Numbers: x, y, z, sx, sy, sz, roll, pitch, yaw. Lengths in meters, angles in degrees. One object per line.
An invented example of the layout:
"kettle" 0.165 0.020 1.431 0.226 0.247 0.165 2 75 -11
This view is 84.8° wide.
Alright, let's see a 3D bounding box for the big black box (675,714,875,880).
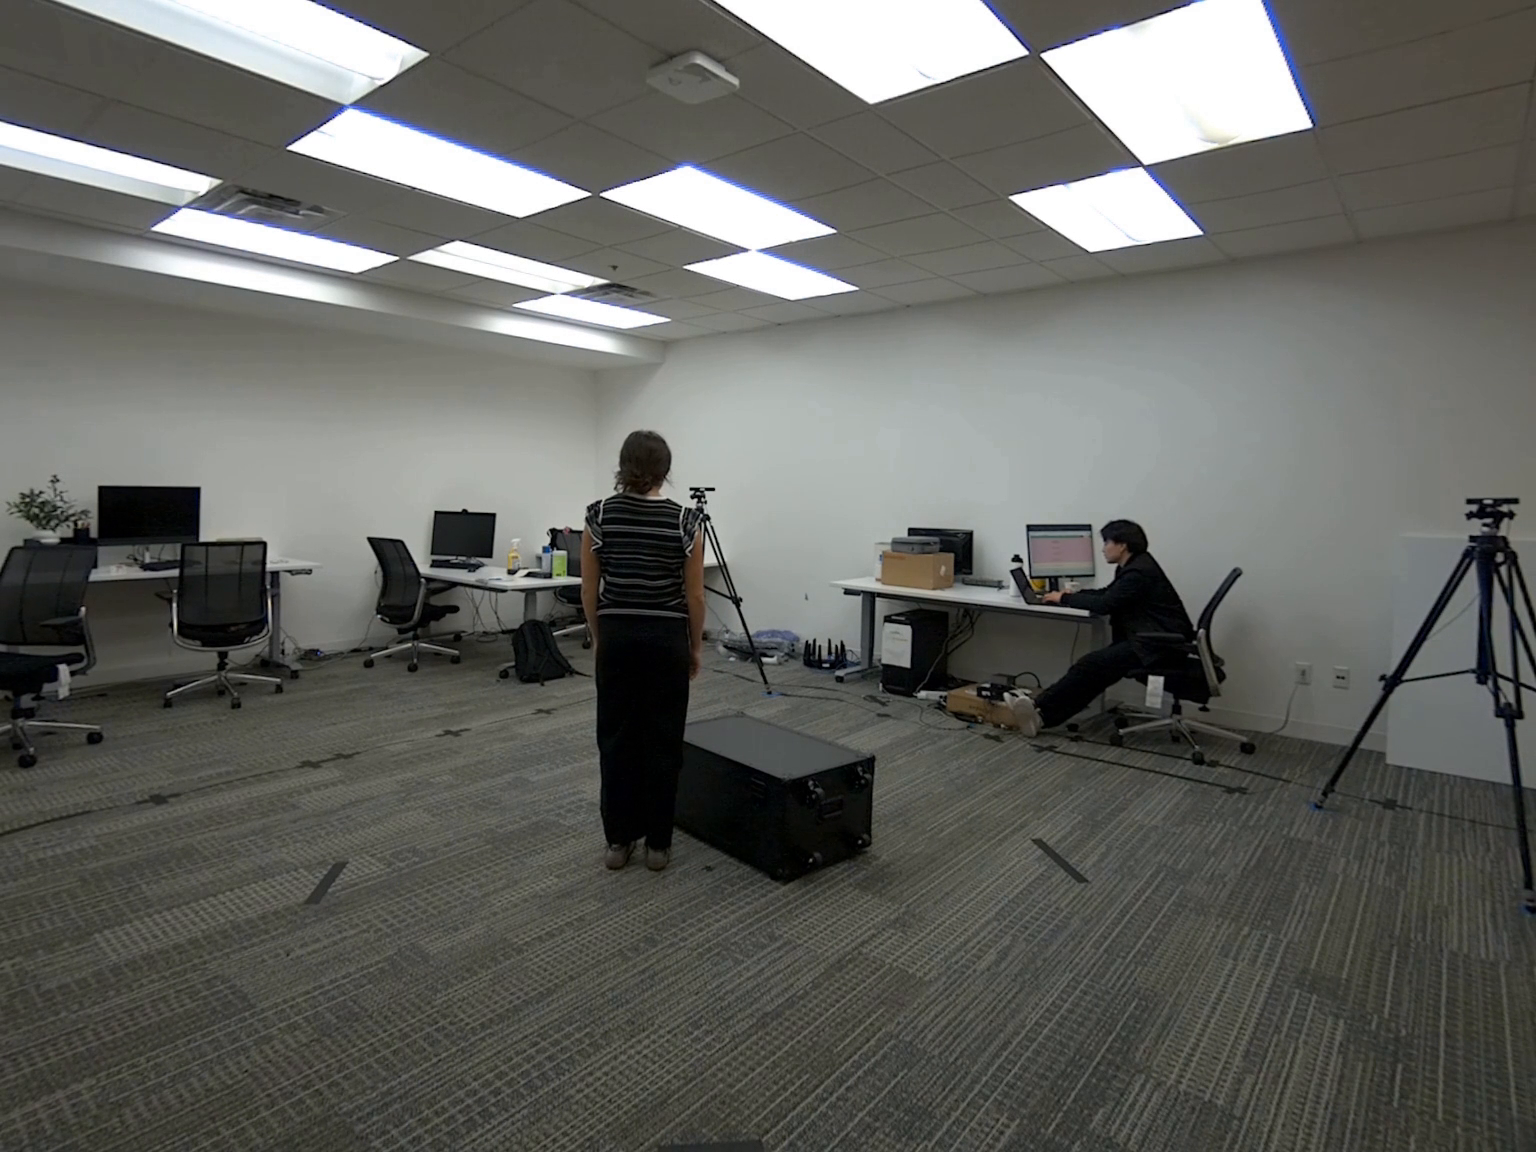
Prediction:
"big black box" -0.024 0.851 3.398 0.505 0.395 0.891 -3 6 -42
